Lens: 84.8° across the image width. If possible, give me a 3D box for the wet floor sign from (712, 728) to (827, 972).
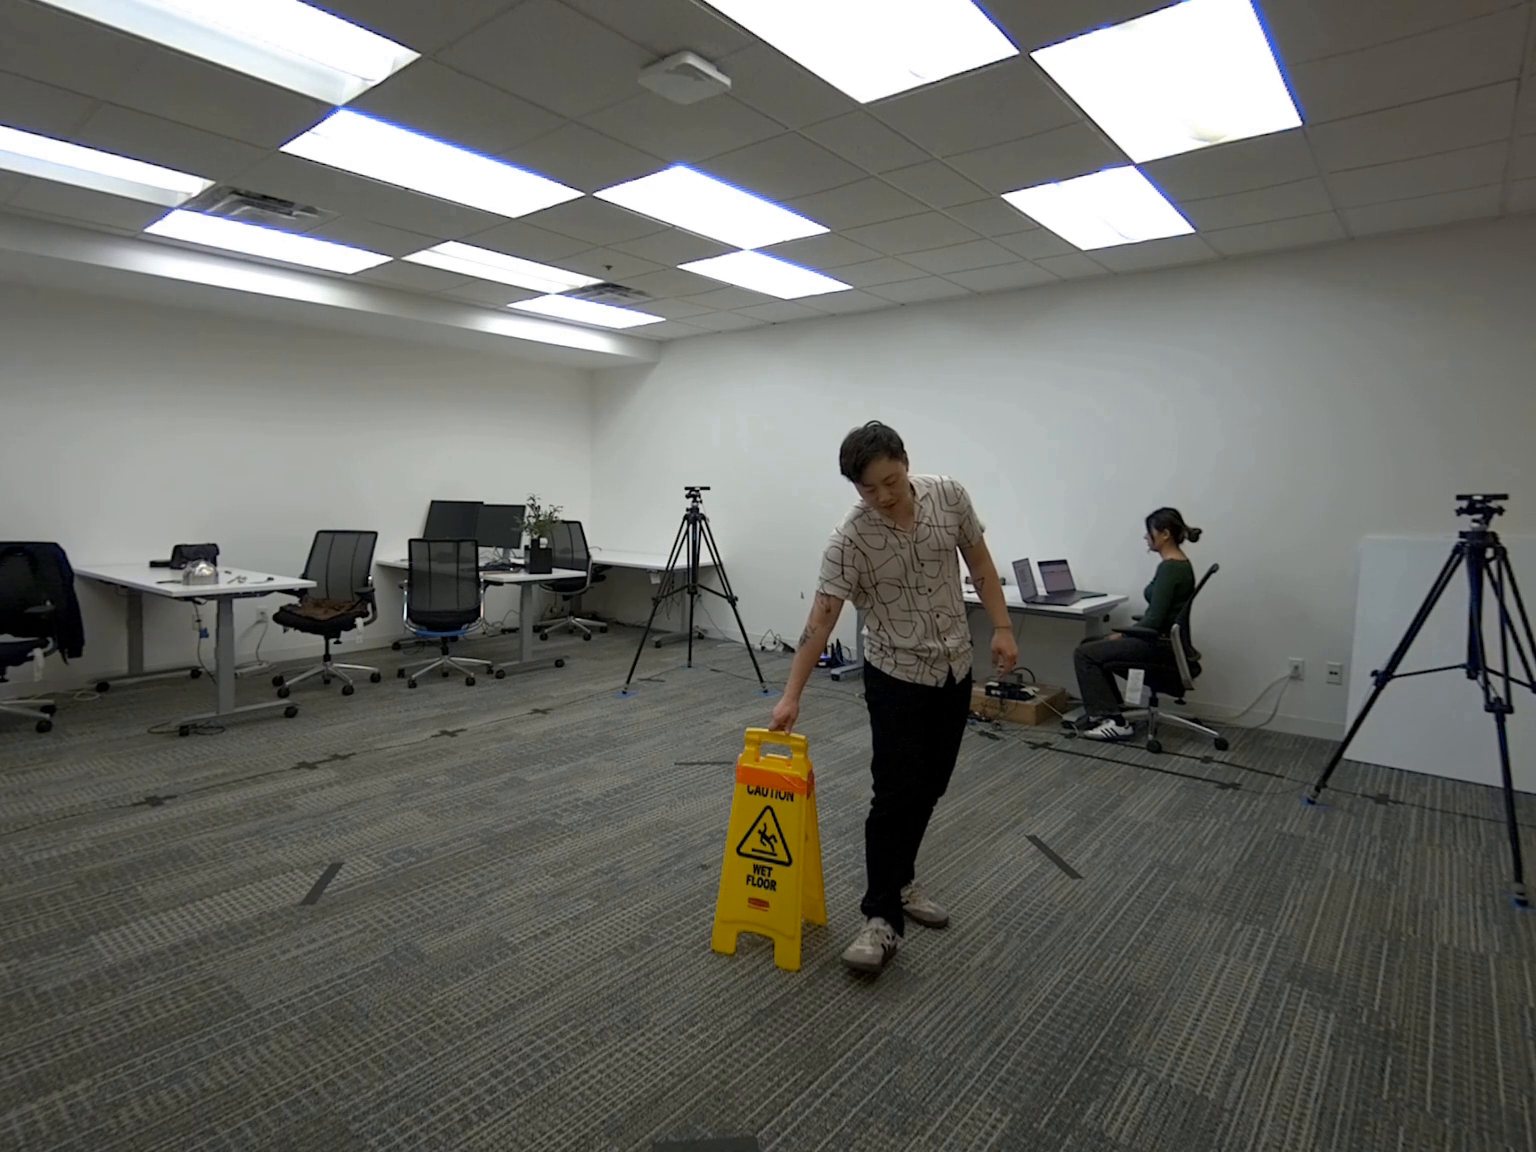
[{"bbox_3d":[0.009,0.794,2.626,0.289,0.645,0.284,3,3,22],"label":"wet floor sign"}]
